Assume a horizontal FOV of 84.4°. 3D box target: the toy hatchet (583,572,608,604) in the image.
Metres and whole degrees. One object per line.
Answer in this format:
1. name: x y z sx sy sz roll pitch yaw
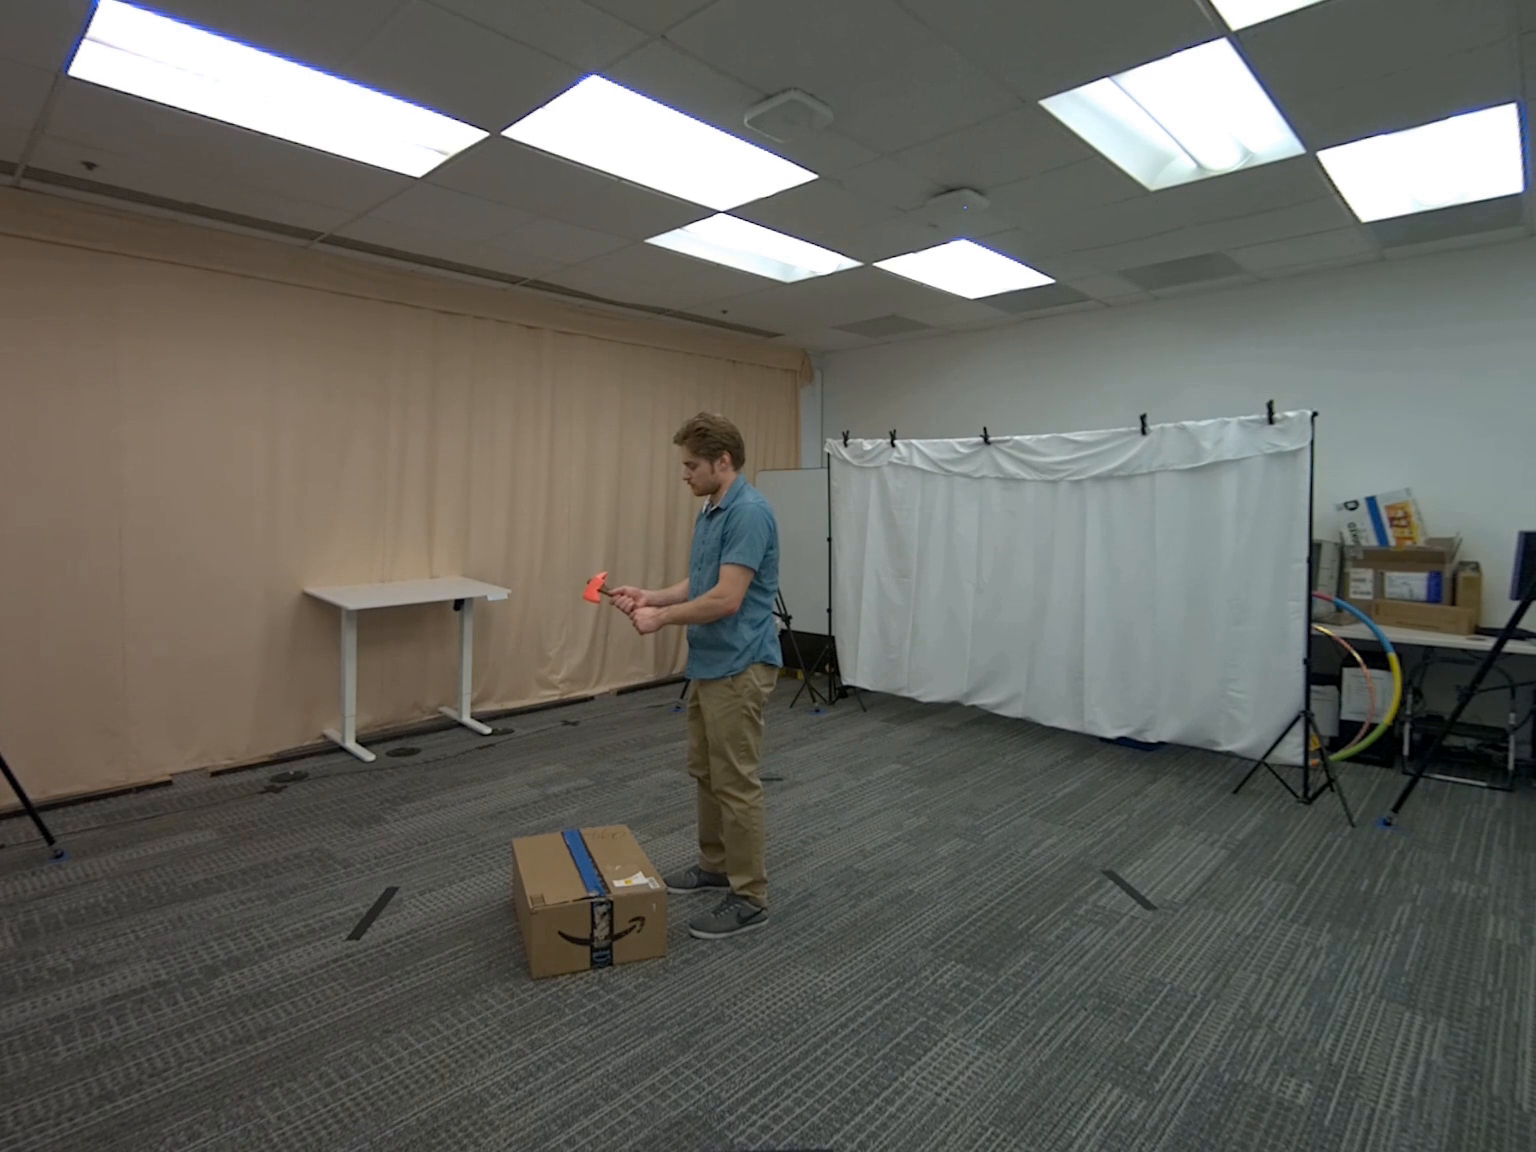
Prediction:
1. toy hatchet: -0.501 0.106 2.826 0.276 0.029 0.129 42 55 19
